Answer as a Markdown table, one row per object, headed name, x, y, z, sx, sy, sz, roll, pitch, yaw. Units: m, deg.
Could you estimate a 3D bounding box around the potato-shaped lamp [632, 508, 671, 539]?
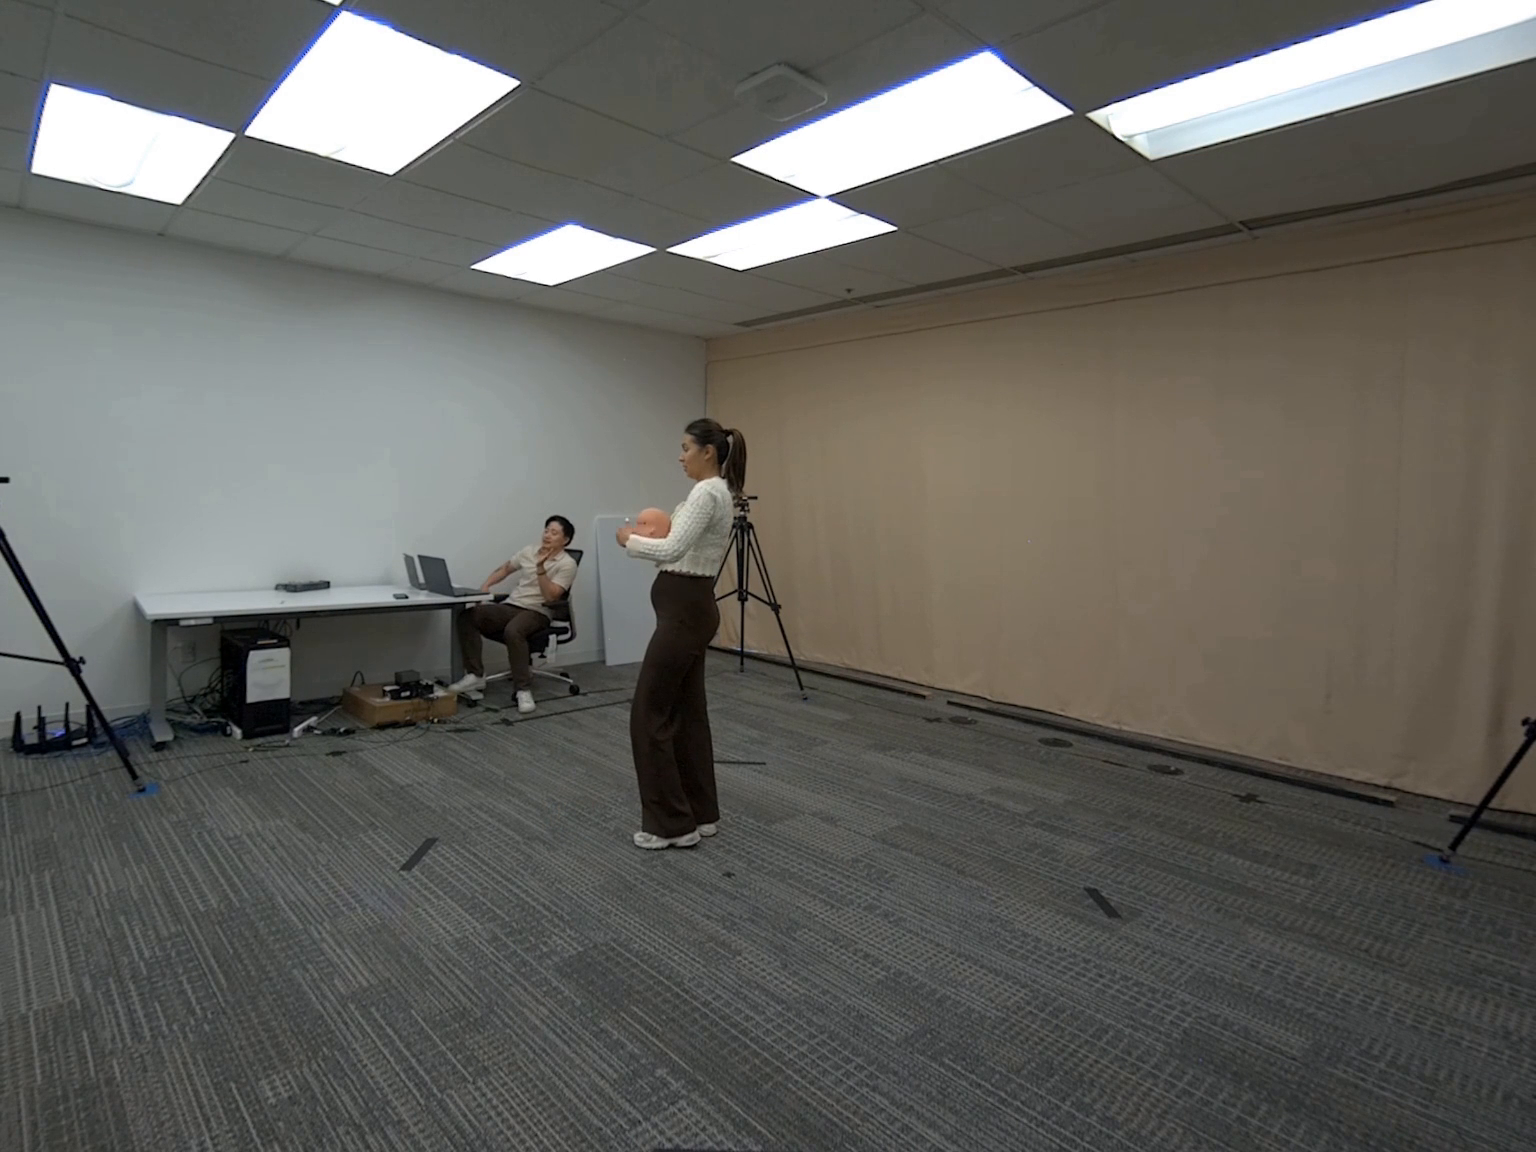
| name | x | y | z | sx | sy | sz | roll | pitch | yaw |
| --- | --- | --- | --- | --- | --- | --- | --- | --- | --- |
| potato-shaped lamp | -0.470 | -0.175 | 3.420 | 0.168 | 0.197 | 0.169 | -10 | 11 | -41 |
